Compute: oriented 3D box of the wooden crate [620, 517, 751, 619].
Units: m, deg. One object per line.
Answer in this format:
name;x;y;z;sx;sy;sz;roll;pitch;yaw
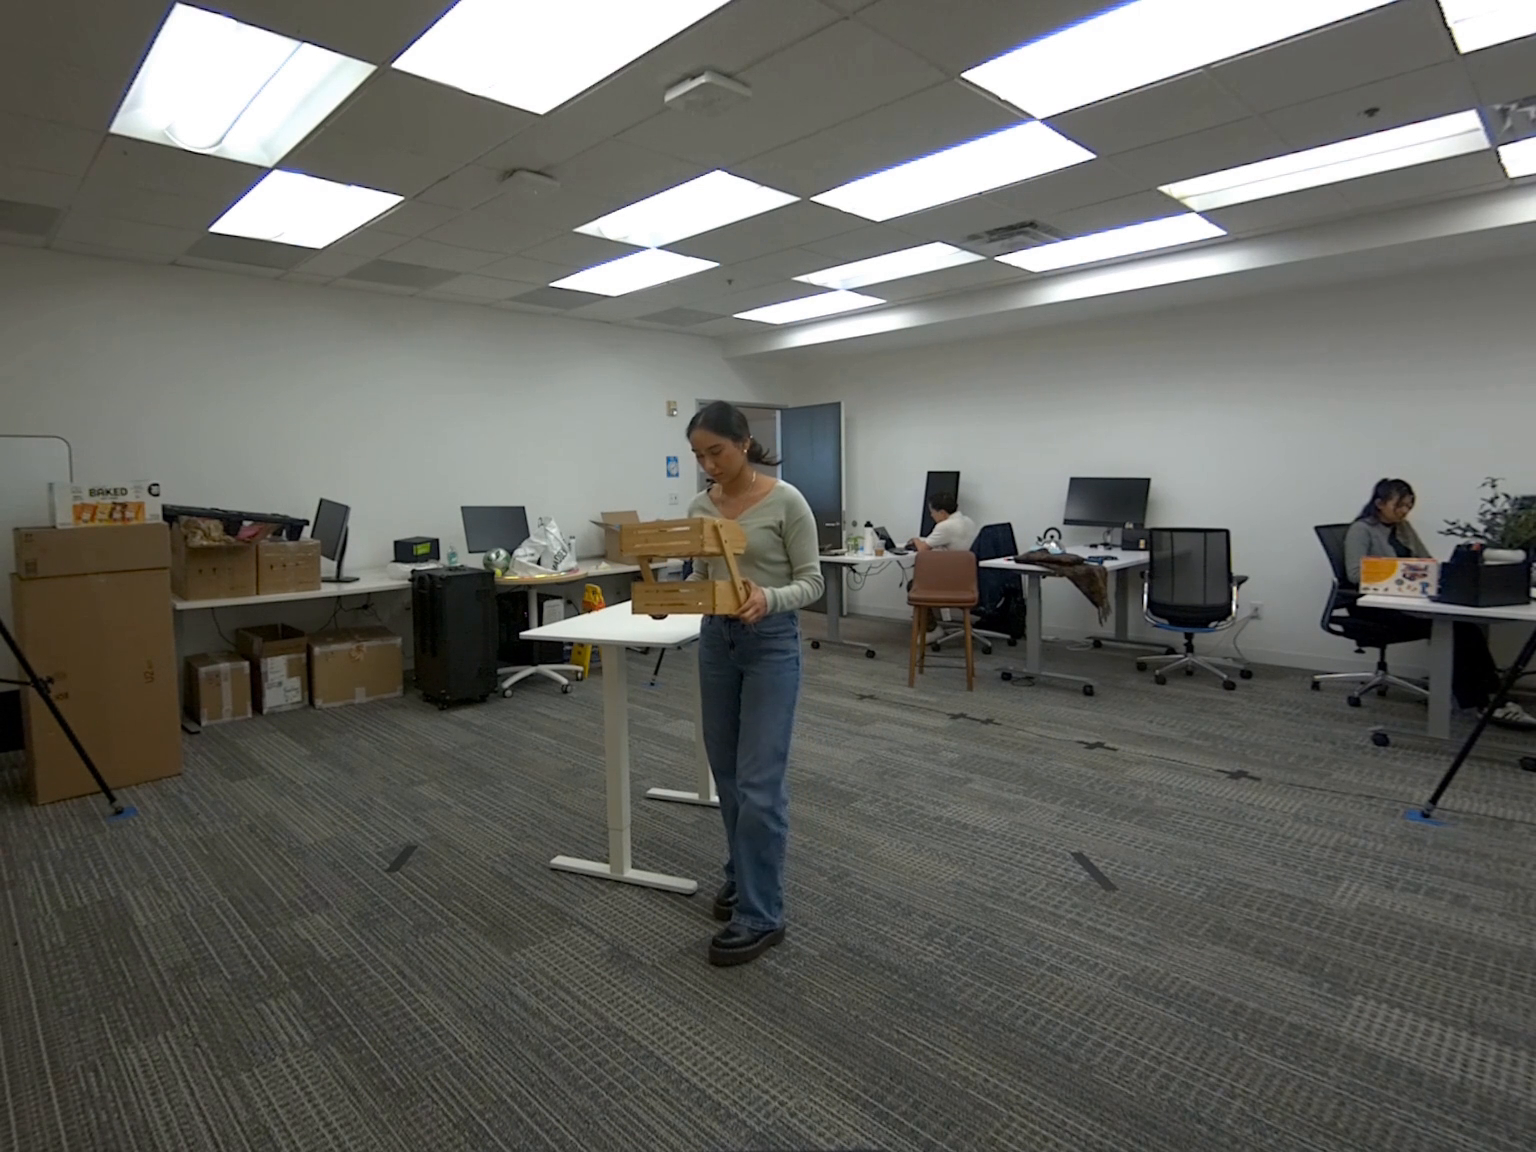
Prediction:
wooden crate;-0.208;-0.025;2.459;0.333;0.274;0.293;-3;-4;34
